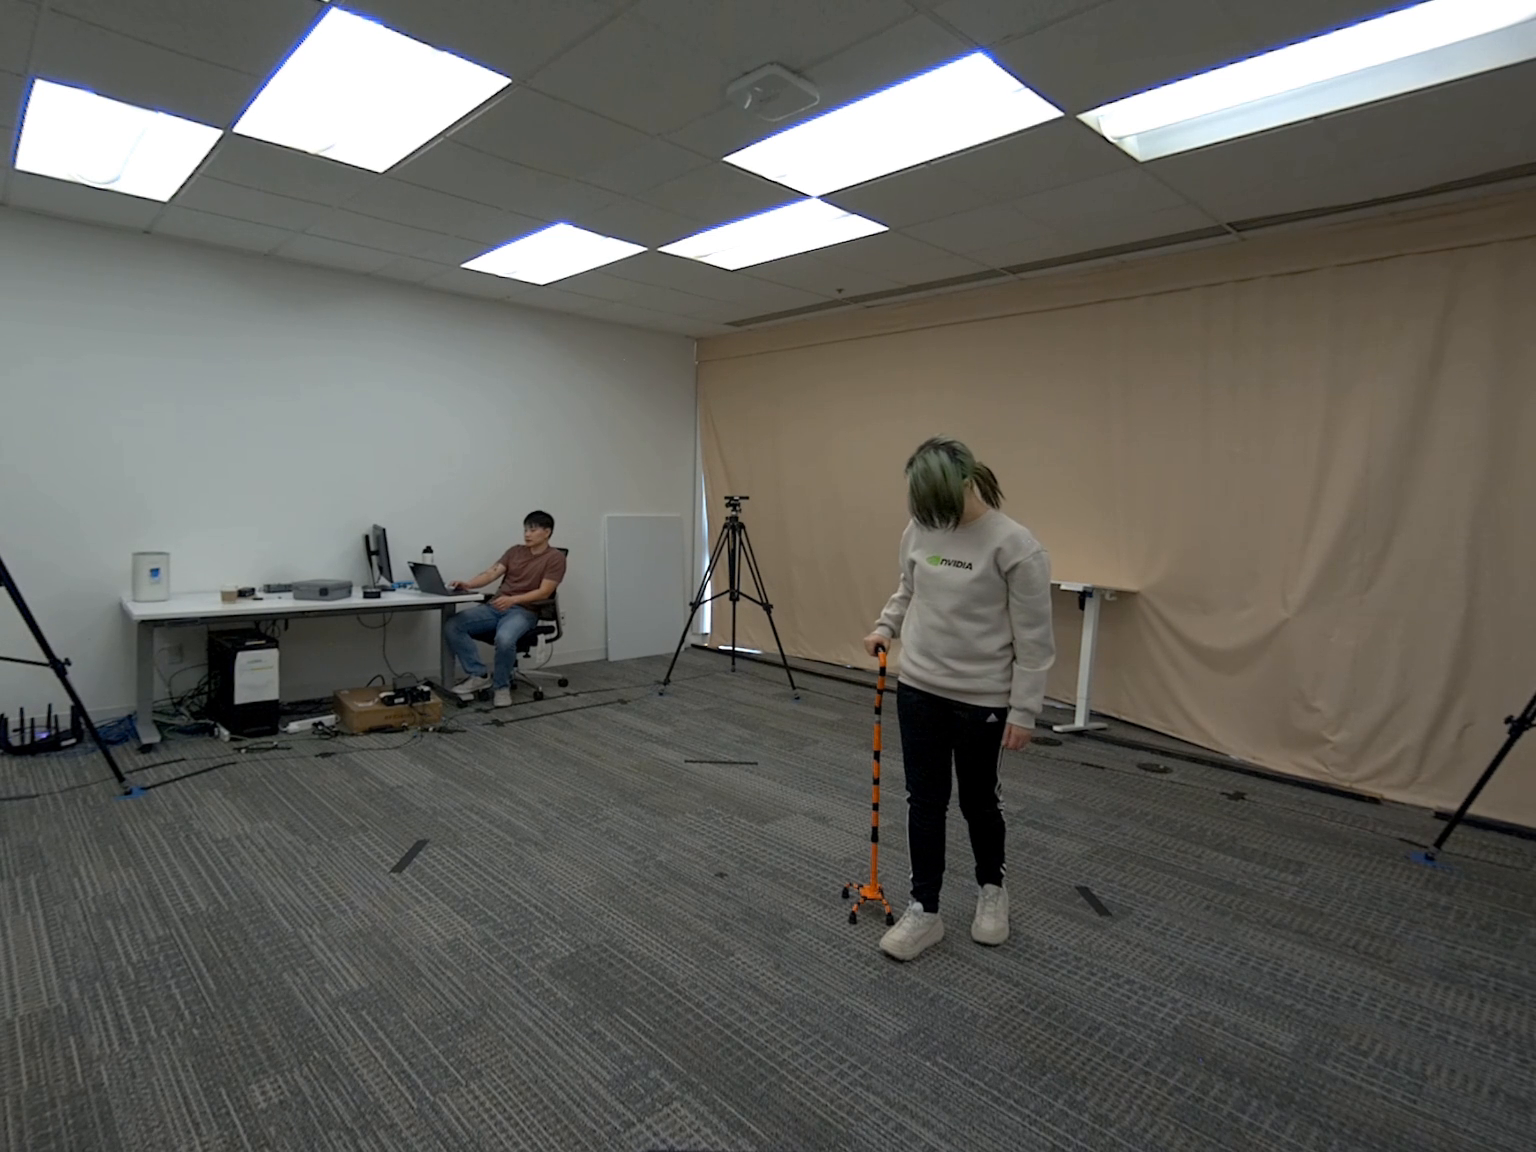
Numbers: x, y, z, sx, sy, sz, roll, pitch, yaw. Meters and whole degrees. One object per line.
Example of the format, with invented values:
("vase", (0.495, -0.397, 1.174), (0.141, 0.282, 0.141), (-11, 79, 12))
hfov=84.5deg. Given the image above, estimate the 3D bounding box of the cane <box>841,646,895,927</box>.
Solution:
("cane", (0.336, 0.684, 2.844), (0.151, 0.905, 0.207), (0, 3, -2))
